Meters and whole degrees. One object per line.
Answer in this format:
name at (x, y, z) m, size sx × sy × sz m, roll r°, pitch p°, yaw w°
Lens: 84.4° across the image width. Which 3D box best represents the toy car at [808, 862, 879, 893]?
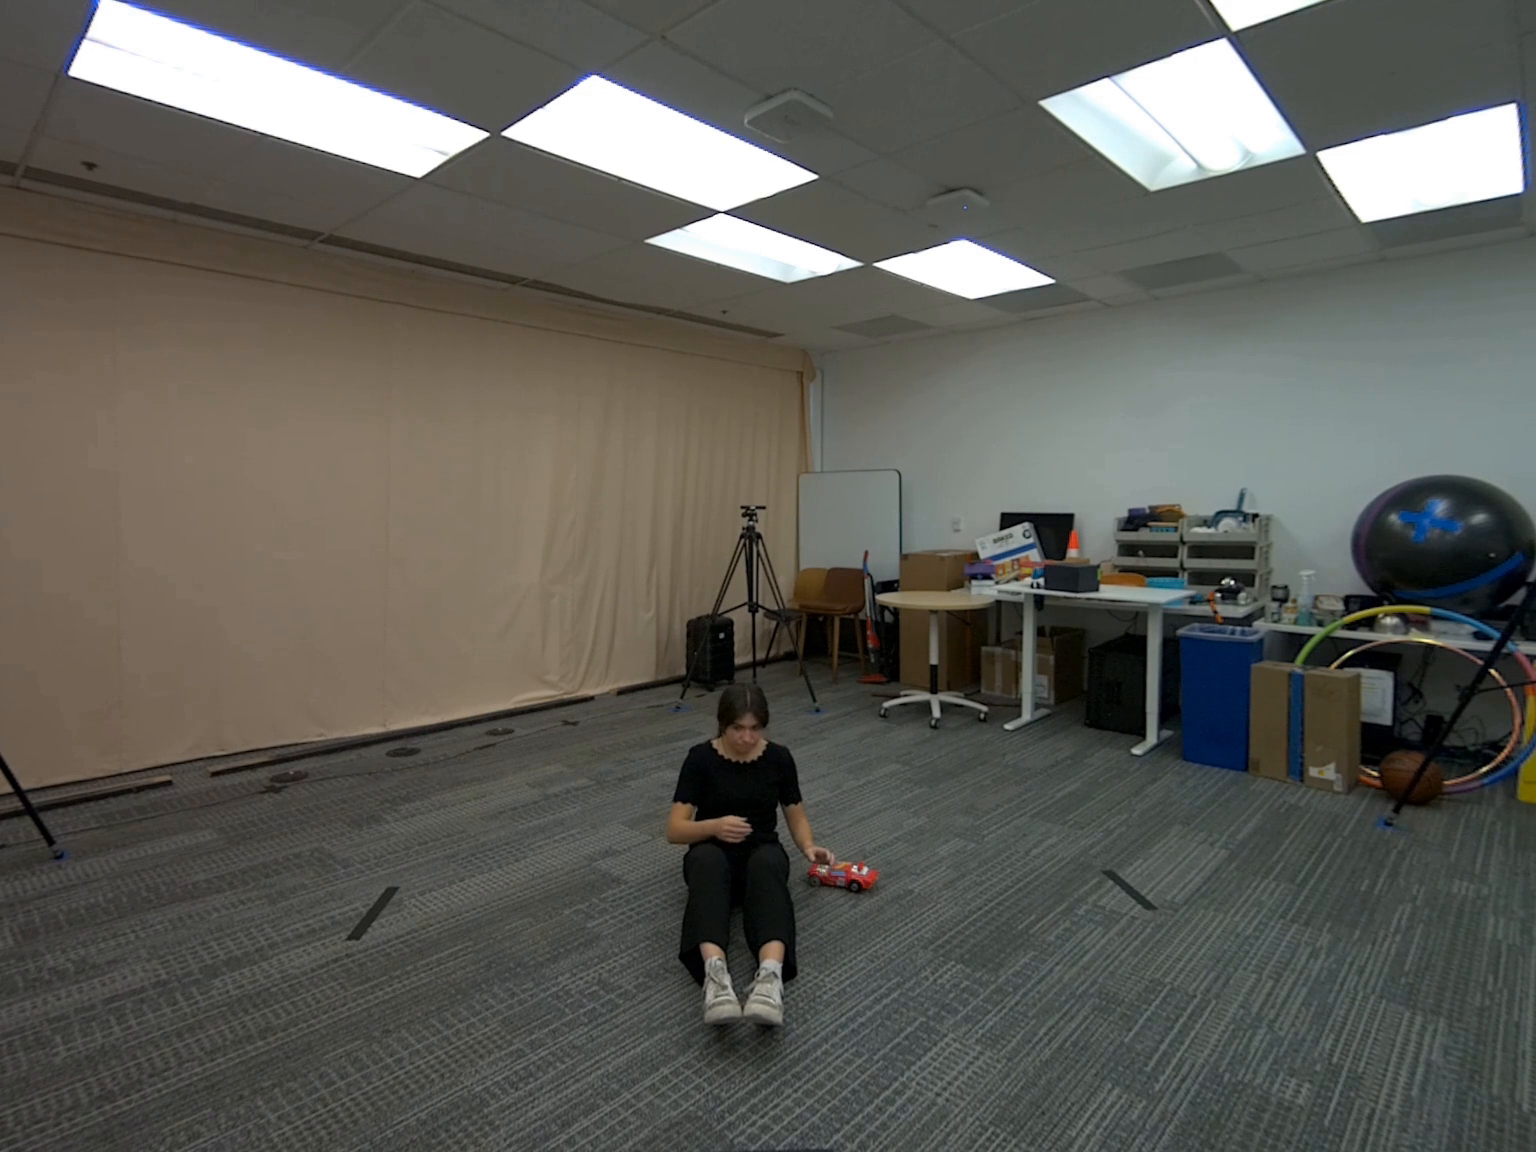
toy car at (0.286, 1.103, 3.083) m, size 0.259 × 0.083 × 0.128 m, roll -10°, pitch 1°, yaw 21°
